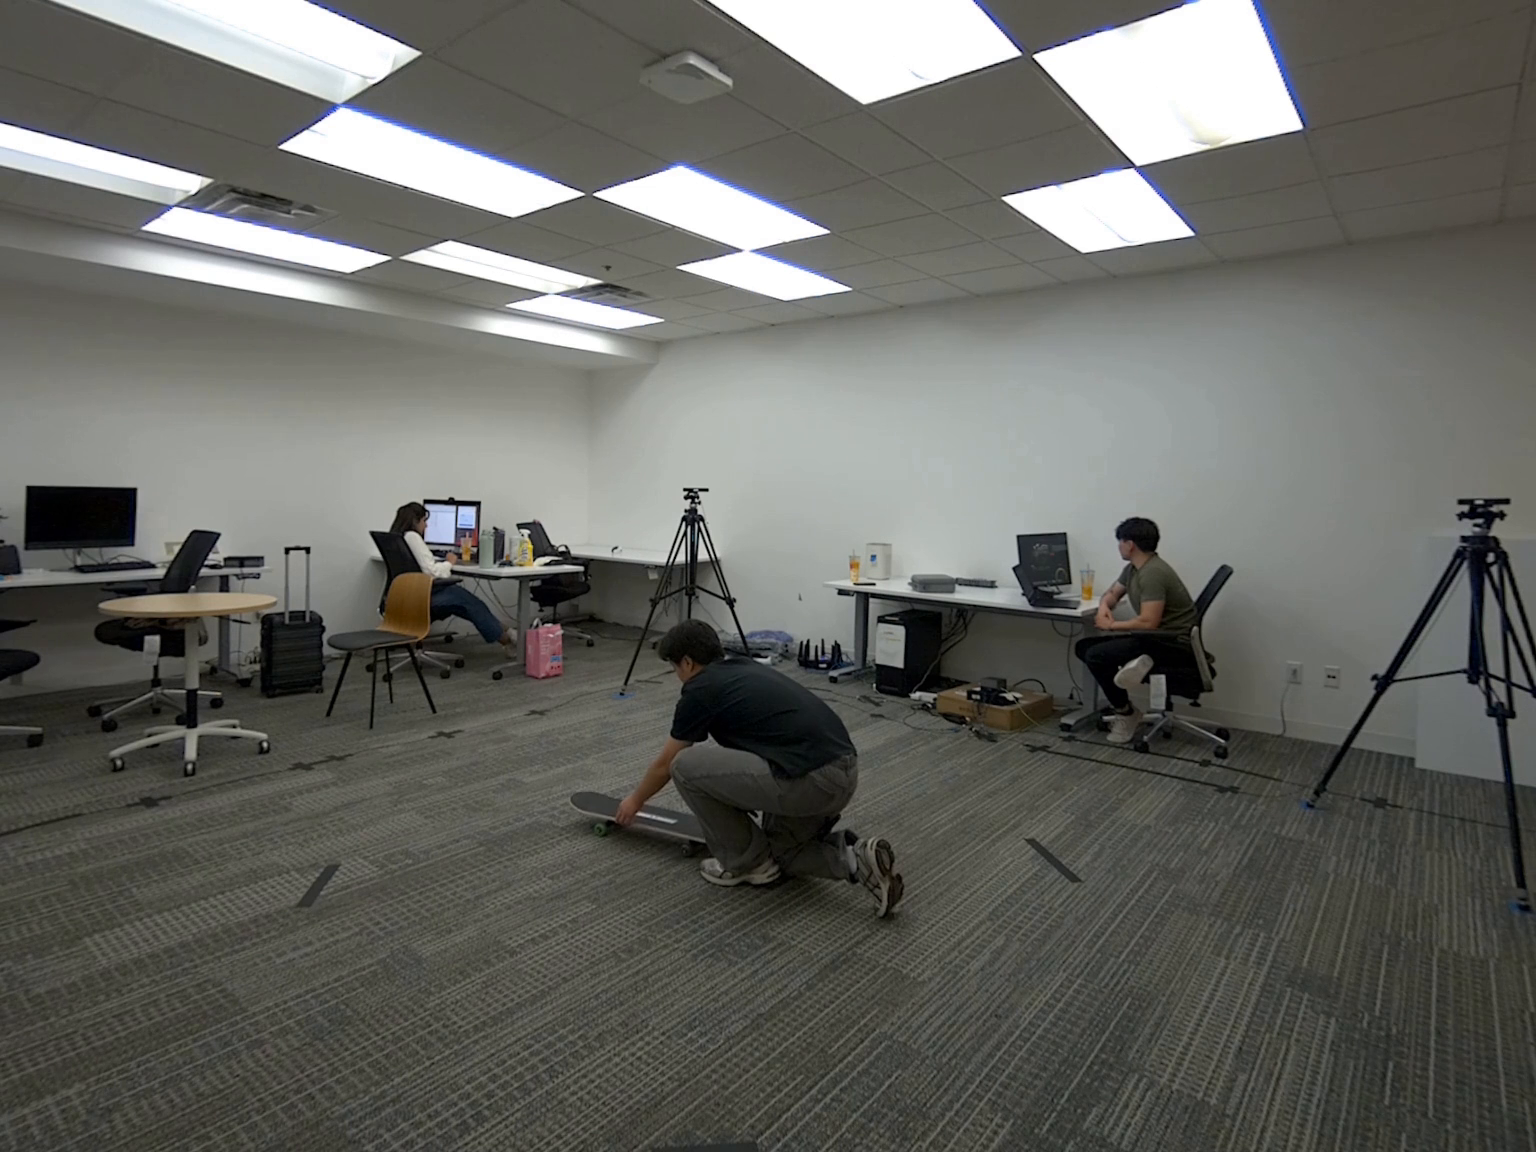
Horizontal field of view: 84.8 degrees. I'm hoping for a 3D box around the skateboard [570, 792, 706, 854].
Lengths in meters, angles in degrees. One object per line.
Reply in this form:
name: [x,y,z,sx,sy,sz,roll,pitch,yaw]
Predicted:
skateboard: [-0.463,0.982,3.369,0.807,0.110,0.189,5,5,27]
